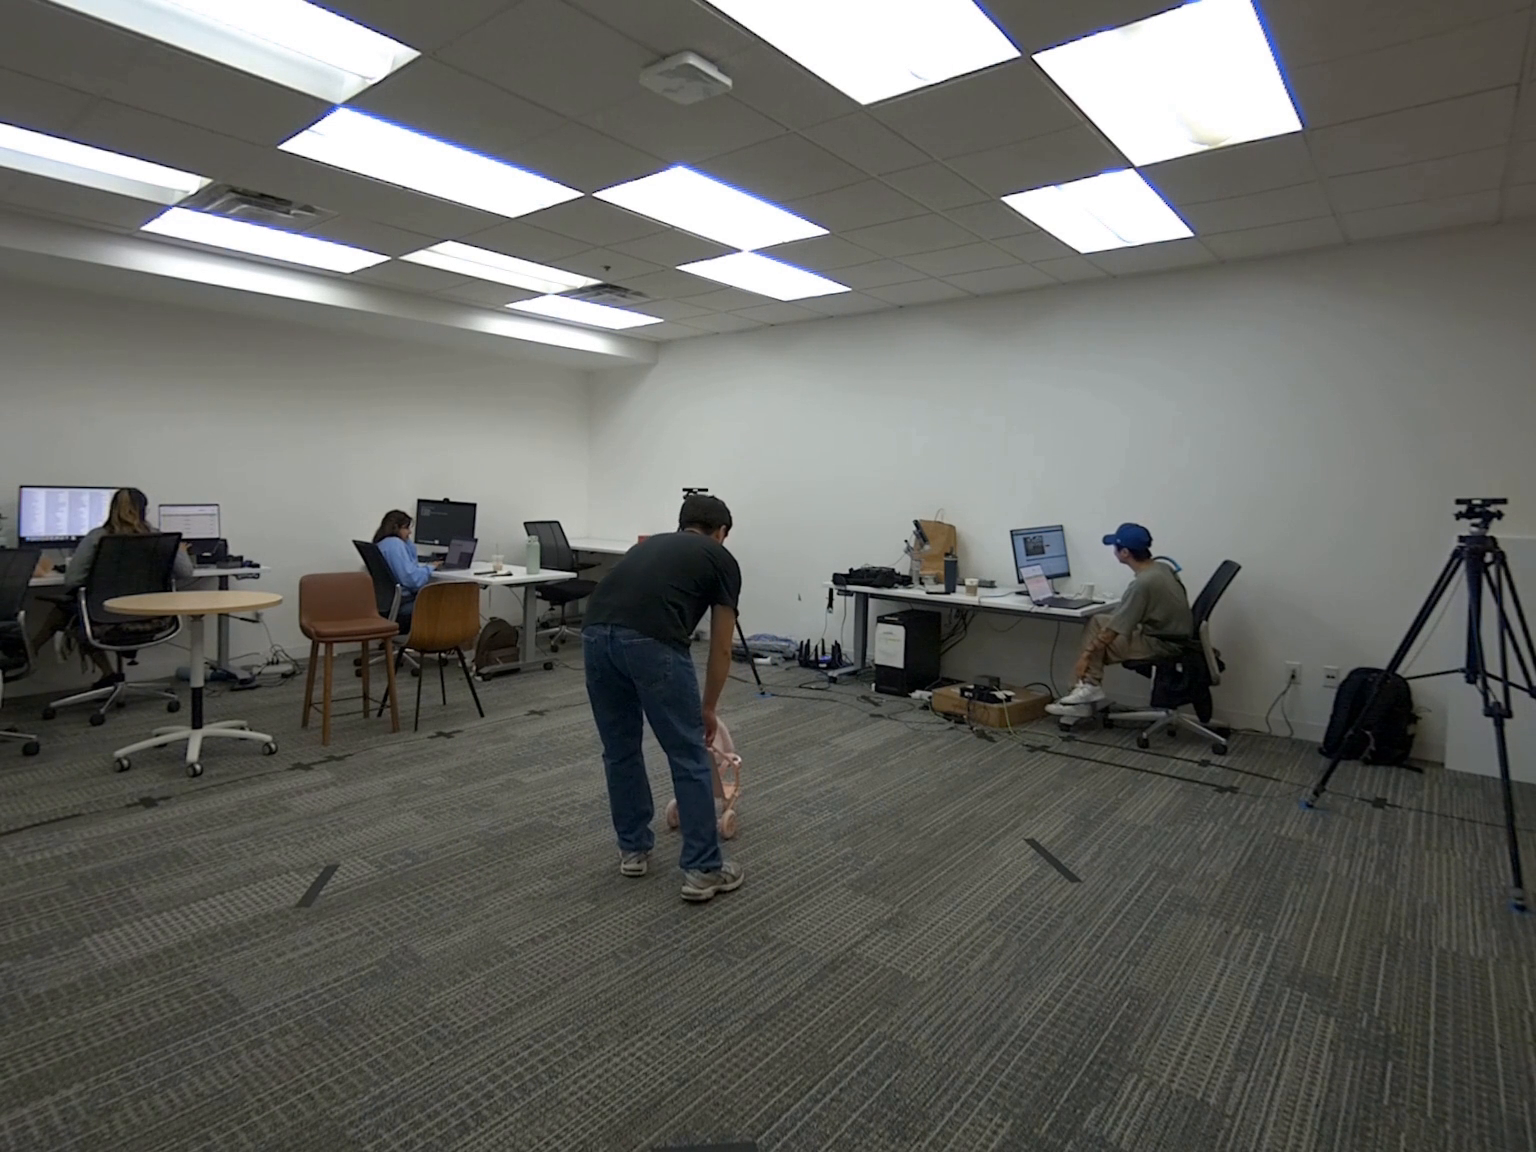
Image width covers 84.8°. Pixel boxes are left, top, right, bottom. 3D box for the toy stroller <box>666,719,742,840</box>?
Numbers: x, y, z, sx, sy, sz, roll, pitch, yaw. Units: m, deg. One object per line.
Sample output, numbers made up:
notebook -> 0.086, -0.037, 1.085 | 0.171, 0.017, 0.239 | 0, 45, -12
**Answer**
toy stroller -> -0.253, 0.802, 3.499 | 0.289, 0.526, 0.338 | 3, 19, 28
